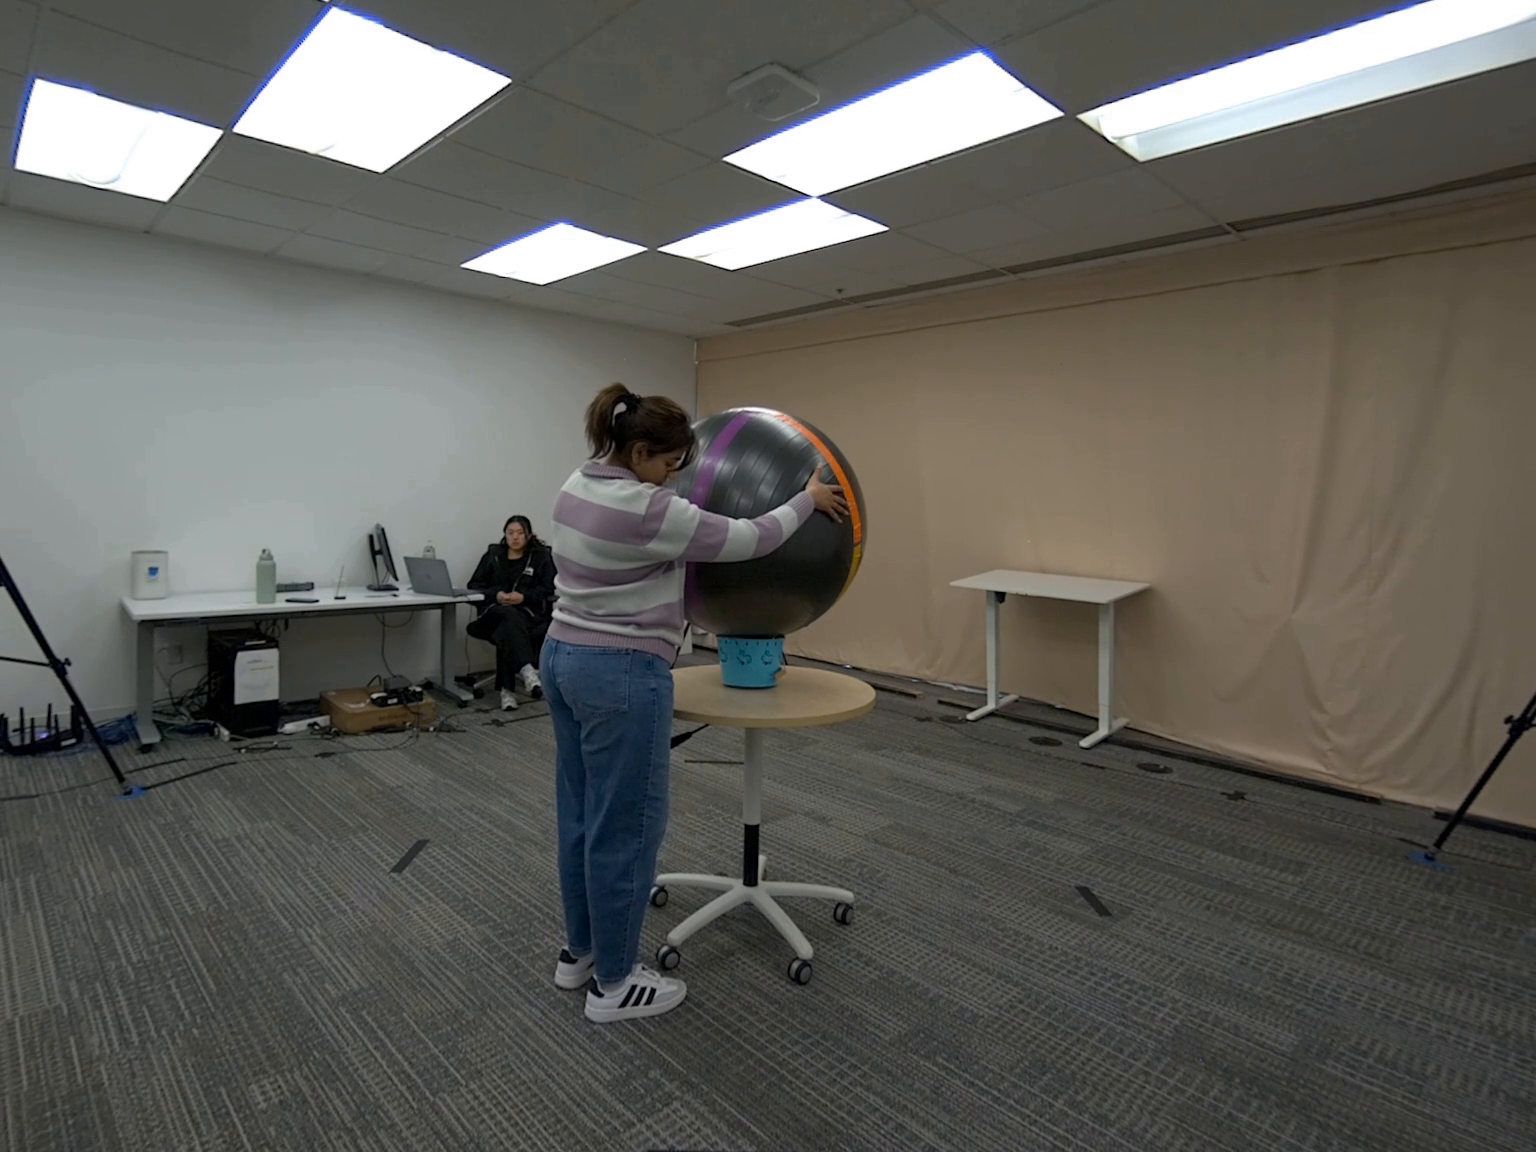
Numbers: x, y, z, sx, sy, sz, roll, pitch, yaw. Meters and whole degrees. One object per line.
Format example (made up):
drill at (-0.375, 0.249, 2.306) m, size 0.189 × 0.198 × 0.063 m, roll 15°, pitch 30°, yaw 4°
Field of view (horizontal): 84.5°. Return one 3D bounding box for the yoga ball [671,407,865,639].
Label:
yoga ball at (-0.052, -0.167, 2.770) m, size 0.757 × 0.756 × 0.761 m, roll 1°, pitch 4°, yaw -1°
